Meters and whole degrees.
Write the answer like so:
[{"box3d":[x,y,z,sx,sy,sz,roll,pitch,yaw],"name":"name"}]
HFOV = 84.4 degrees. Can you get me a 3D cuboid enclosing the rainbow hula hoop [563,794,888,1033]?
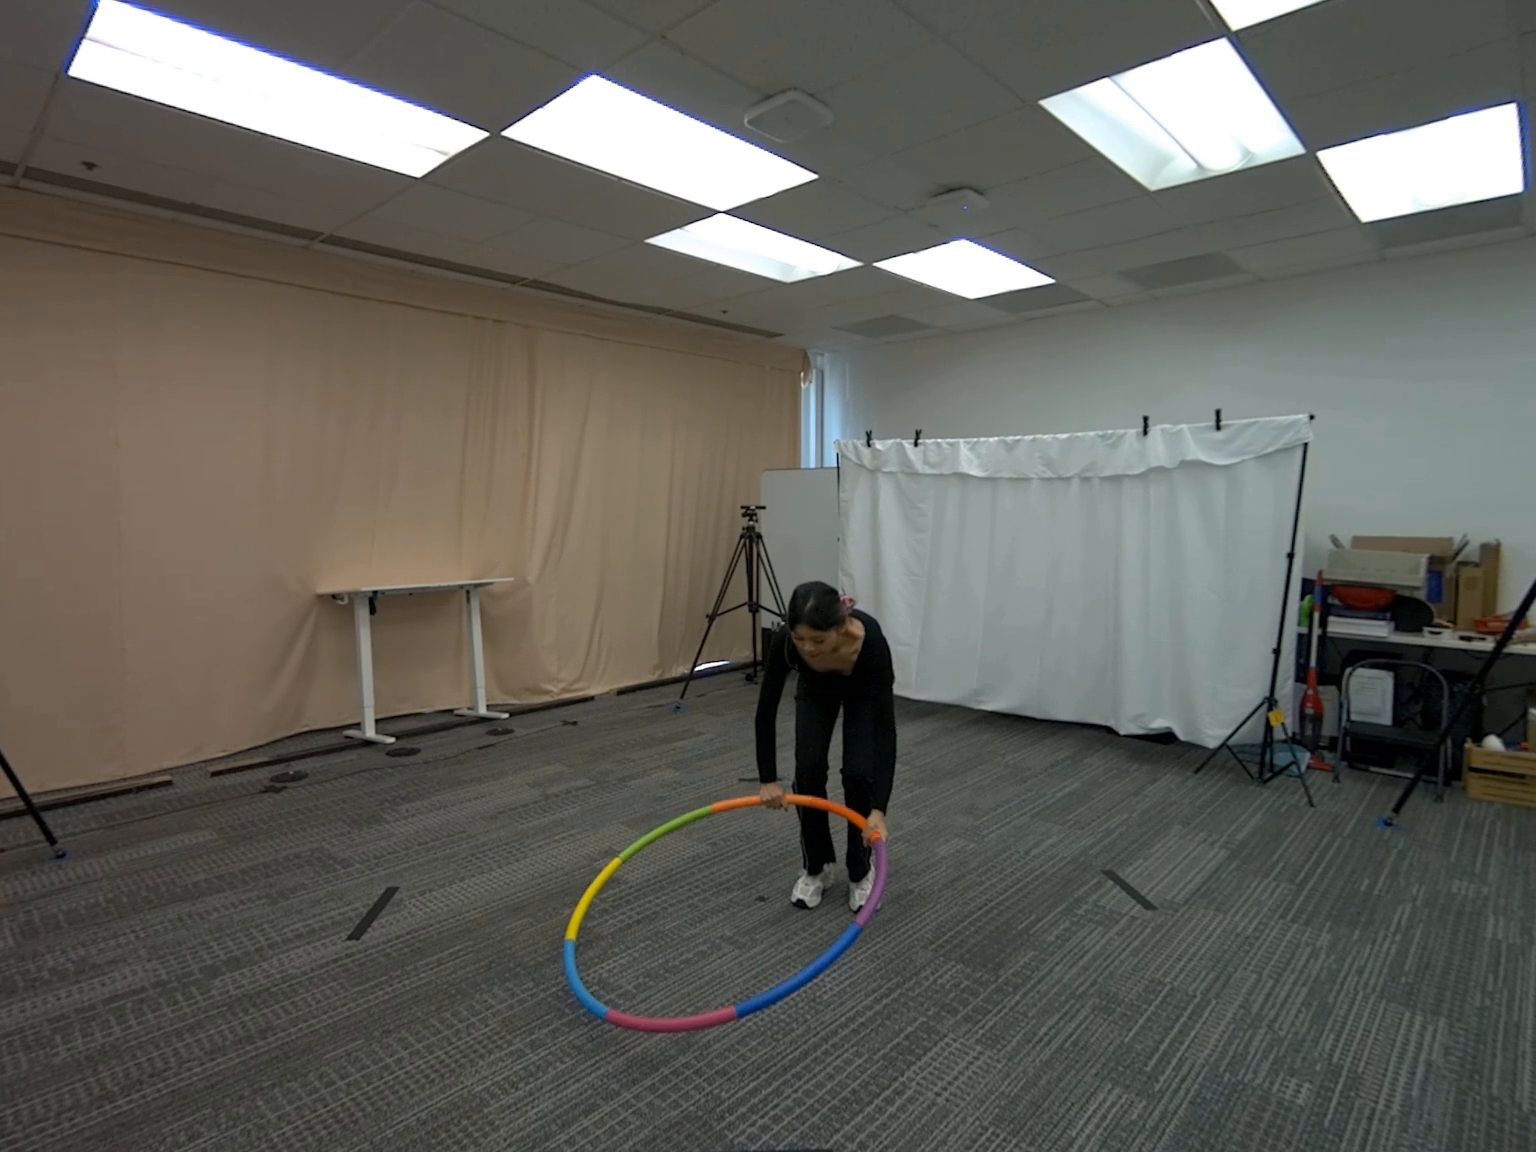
[{"box3d":[-0.137,0.928,2.478,0.981,0.035,0.988,-17,15,2],"name":"rainbow hula hoop"}]
